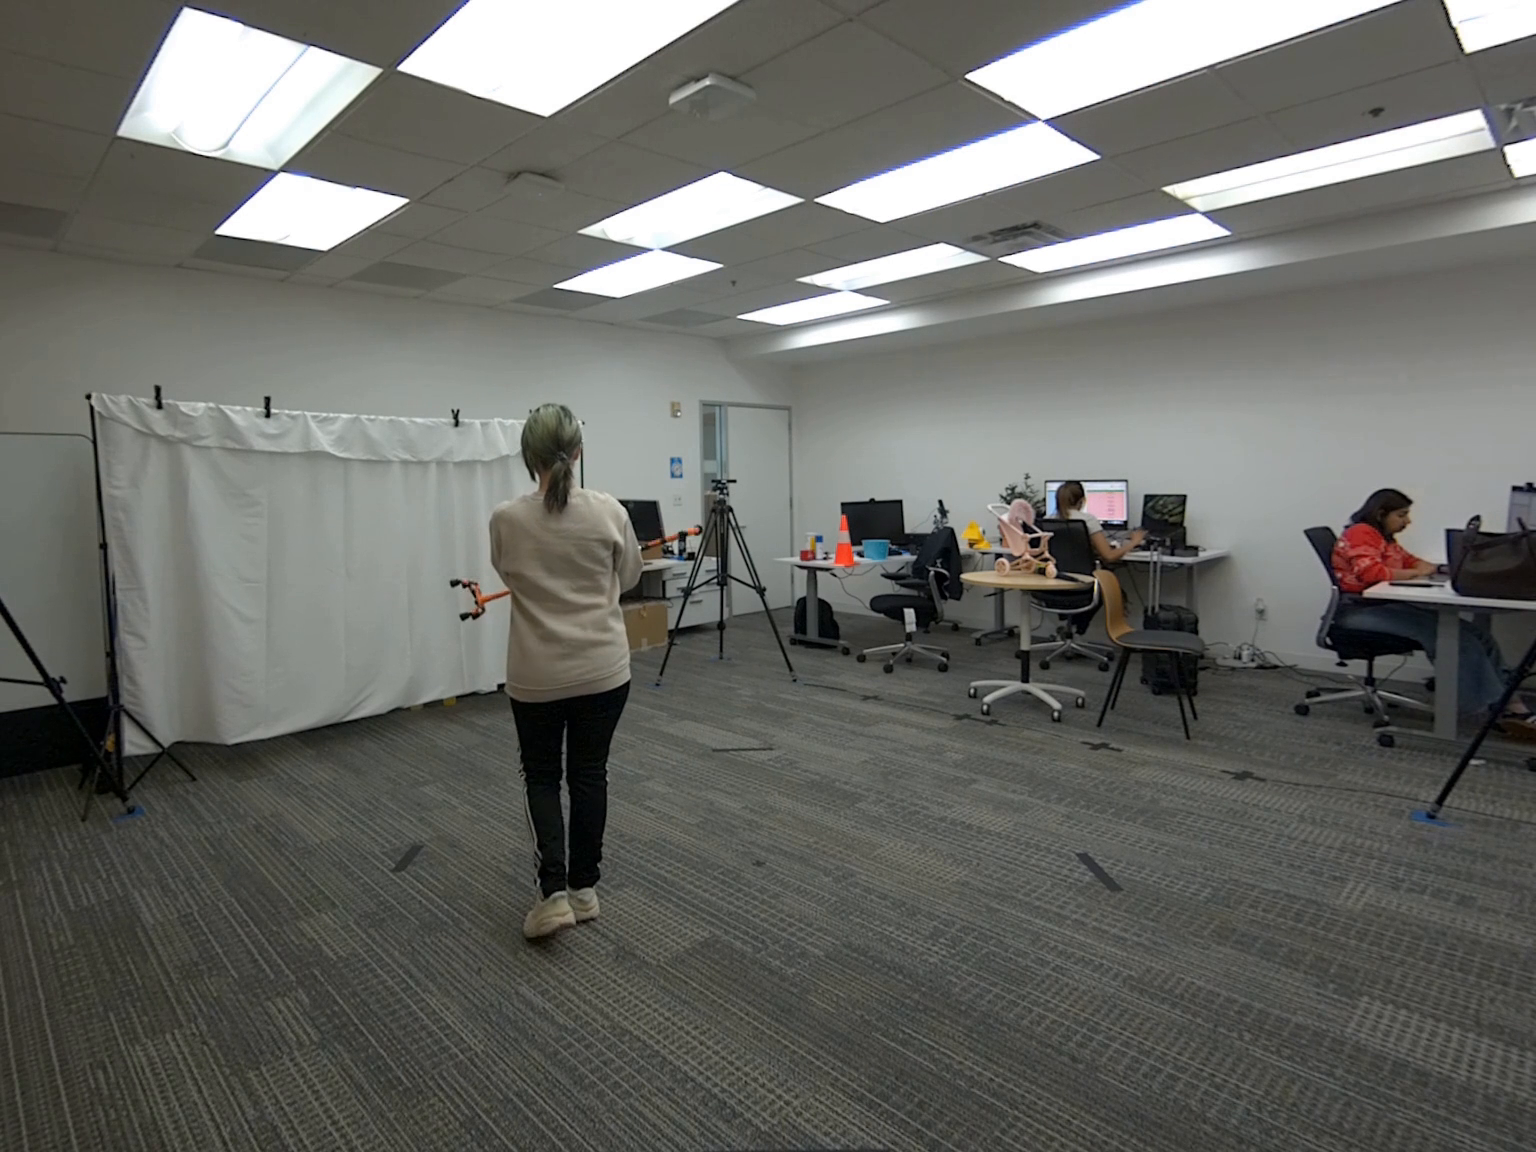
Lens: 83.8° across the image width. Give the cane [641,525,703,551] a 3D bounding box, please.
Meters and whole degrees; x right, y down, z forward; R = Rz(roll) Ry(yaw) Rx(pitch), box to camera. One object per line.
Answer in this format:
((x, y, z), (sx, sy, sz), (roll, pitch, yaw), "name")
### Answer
((-0.677, -0.044, 3.125), (0.904, 0.151, 0.208), (-19, 3, -6), "cane")
